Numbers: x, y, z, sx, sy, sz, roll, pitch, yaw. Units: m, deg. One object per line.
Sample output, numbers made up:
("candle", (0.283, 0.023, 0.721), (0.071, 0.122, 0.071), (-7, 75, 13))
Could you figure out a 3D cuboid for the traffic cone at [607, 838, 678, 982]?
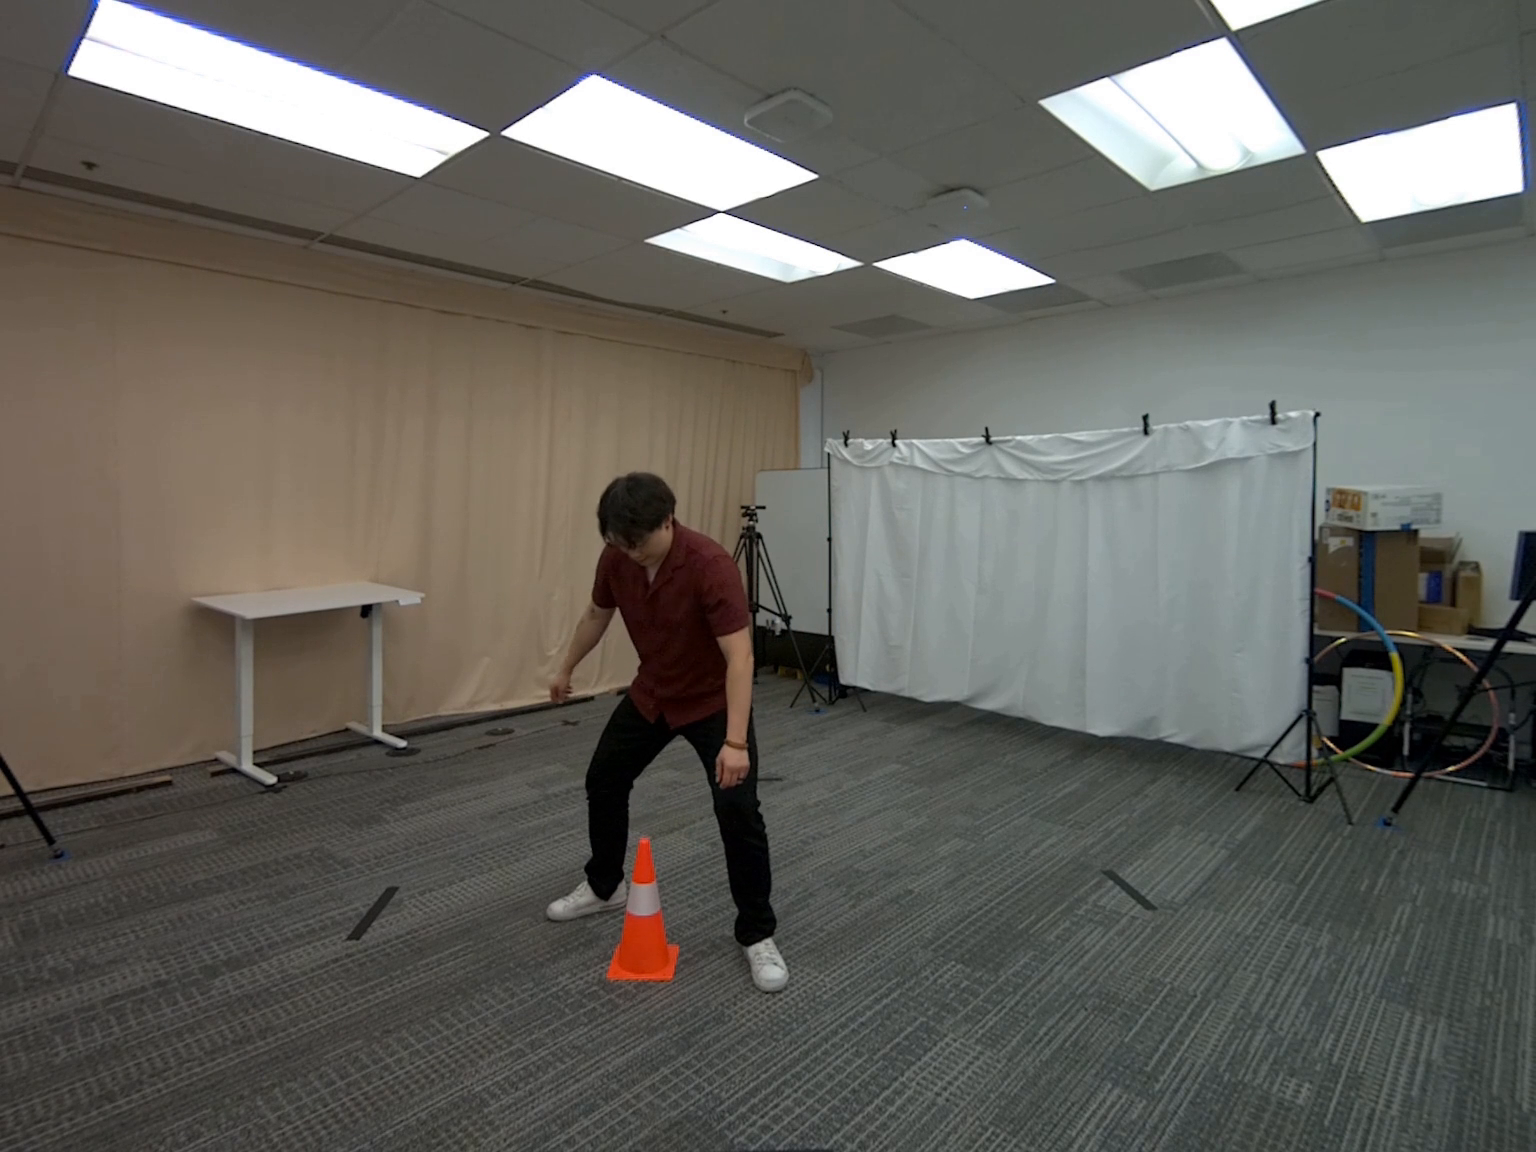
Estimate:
("traffic cone", (-0.377, 1.002, 2.557), (0.204, 0.383, 0.205), (0, 4, 3))
